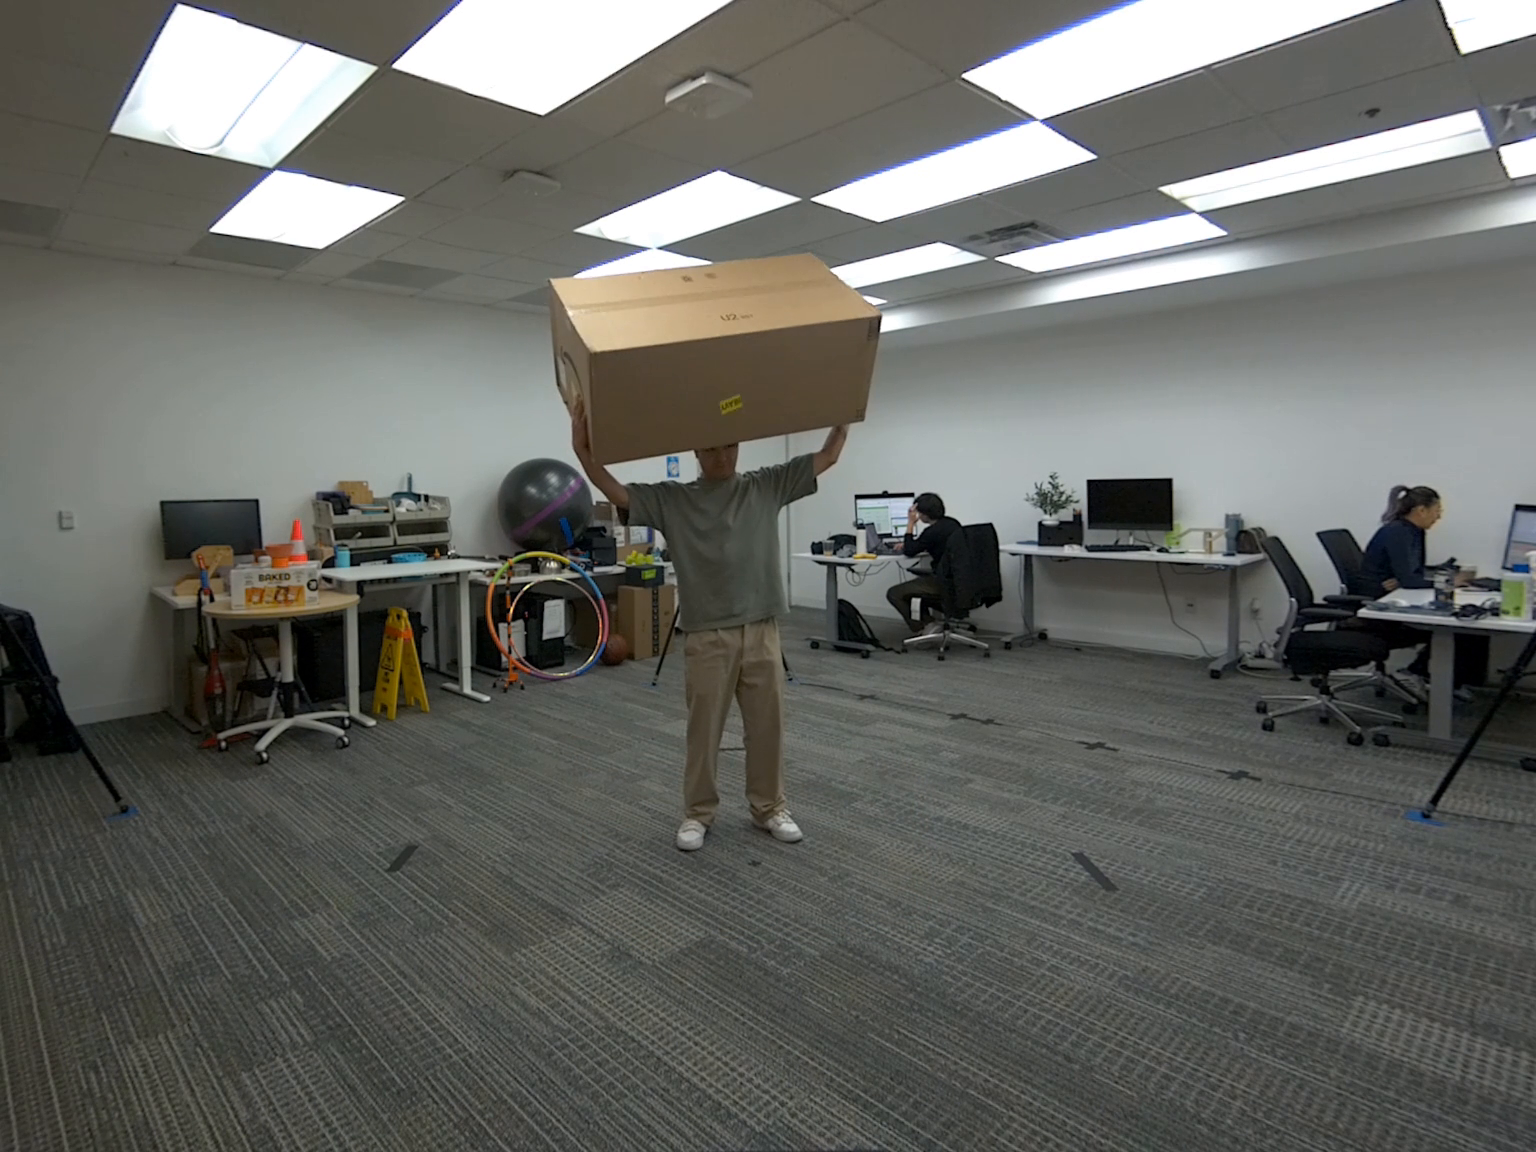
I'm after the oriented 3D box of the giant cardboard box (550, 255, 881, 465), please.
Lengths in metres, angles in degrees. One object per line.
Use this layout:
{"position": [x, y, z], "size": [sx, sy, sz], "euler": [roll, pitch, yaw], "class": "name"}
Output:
{"position": [-0.207, -0.787, 3.054], "size": [1.012, 0.416, 0.600], "euler": [-13, 43, -19], "class": "giant cardboard box"}
